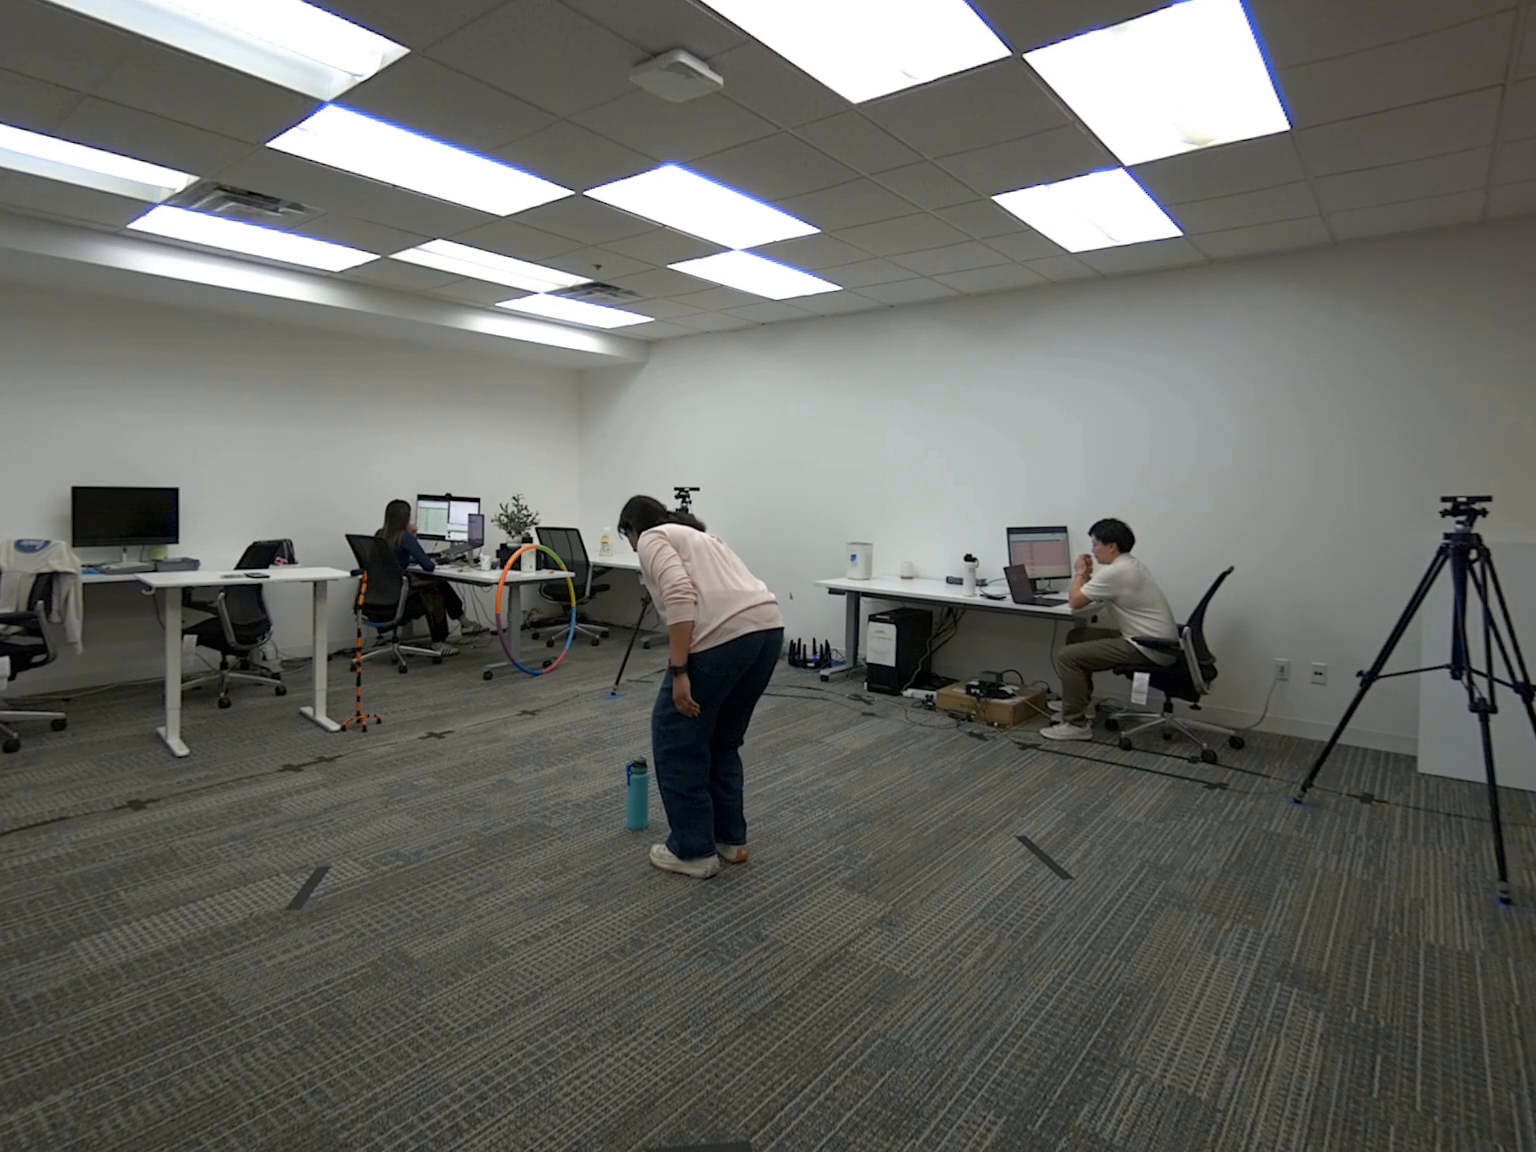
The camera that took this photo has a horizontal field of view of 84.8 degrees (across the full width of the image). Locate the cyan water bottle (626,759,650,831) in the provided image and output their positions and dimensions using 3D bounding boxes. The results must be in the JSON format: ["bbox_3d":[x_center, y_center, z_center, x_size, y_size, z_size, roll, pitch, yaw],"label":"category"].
[{"bbox_3d":[-0.549,0.883,3.486,0.092,0.282,0.093,-1,5,-2],"label":"cyan water bottle"}]
